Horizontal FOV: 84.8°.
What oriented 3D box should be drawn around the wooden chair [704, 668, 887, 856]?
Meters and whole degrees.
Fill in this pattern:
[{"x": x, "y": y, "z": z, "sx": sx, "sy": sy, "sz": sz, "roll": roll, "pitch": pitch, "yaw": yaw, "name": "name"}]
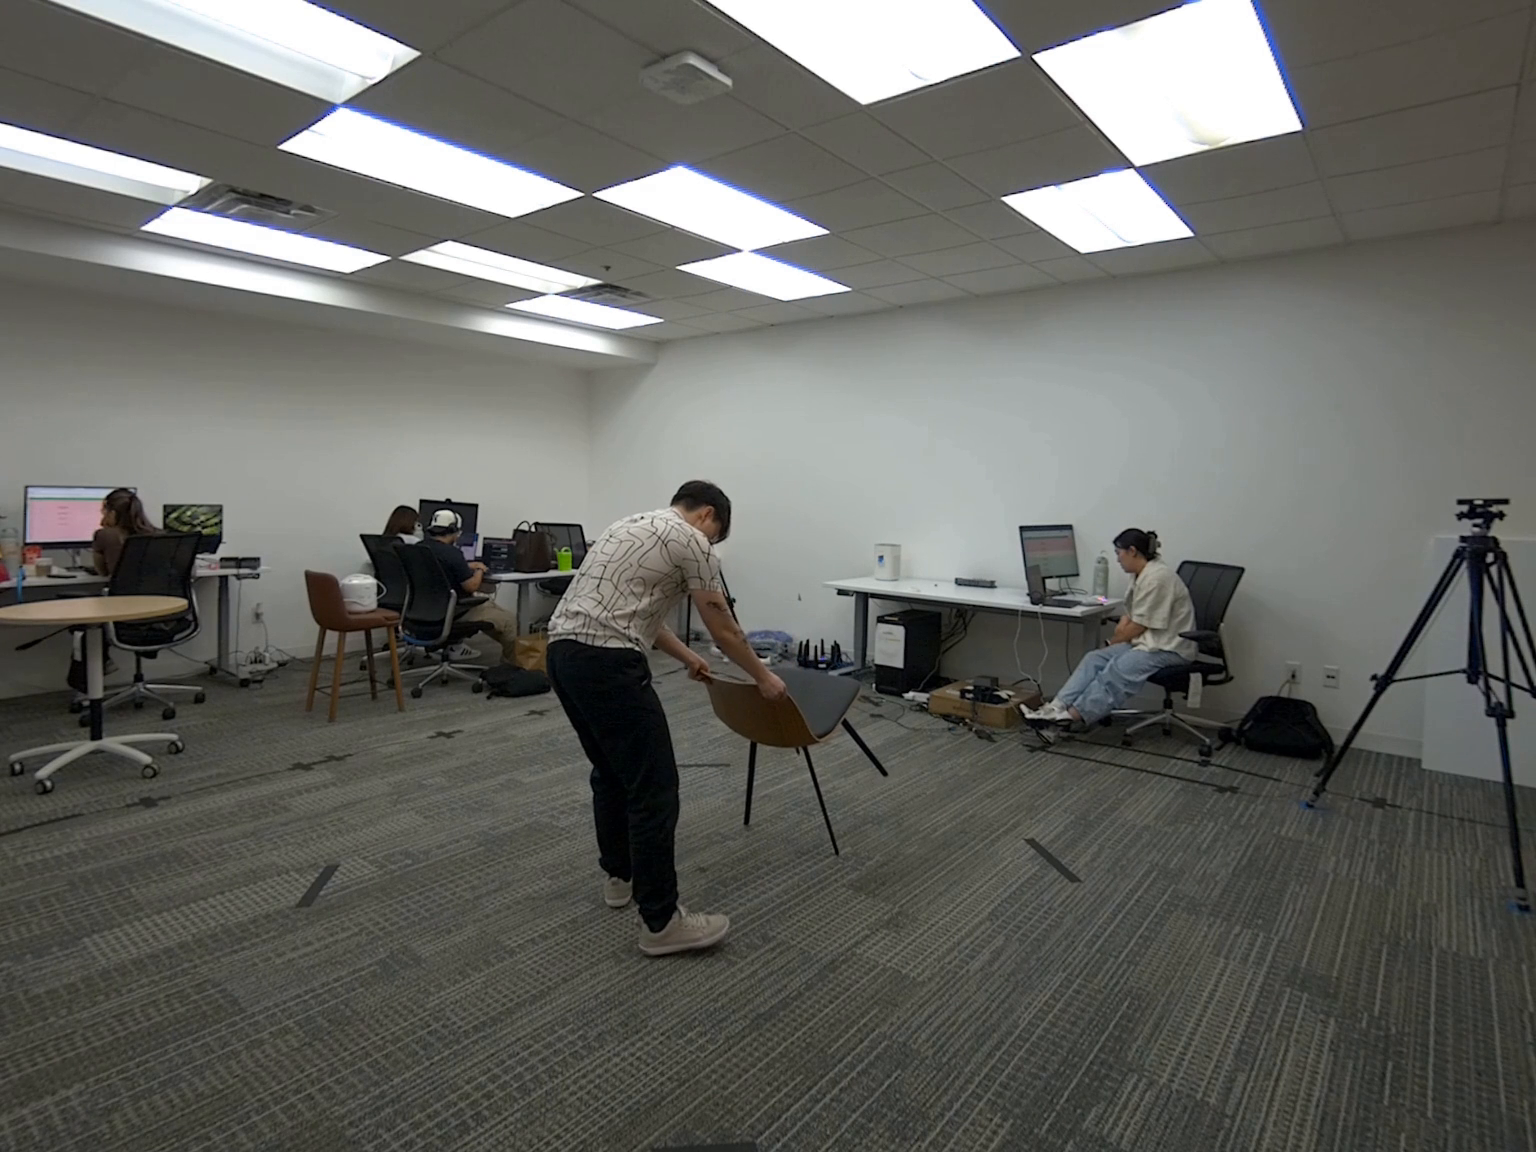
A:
[{"x": 0.086, "y": 0.560, "z": 3.368, "sx": 0.494, "sy": 0.850, "sz": 0.522, "roll": 4, "pitch": 37, "yaw": 37, "name": "wooden chair"}]
